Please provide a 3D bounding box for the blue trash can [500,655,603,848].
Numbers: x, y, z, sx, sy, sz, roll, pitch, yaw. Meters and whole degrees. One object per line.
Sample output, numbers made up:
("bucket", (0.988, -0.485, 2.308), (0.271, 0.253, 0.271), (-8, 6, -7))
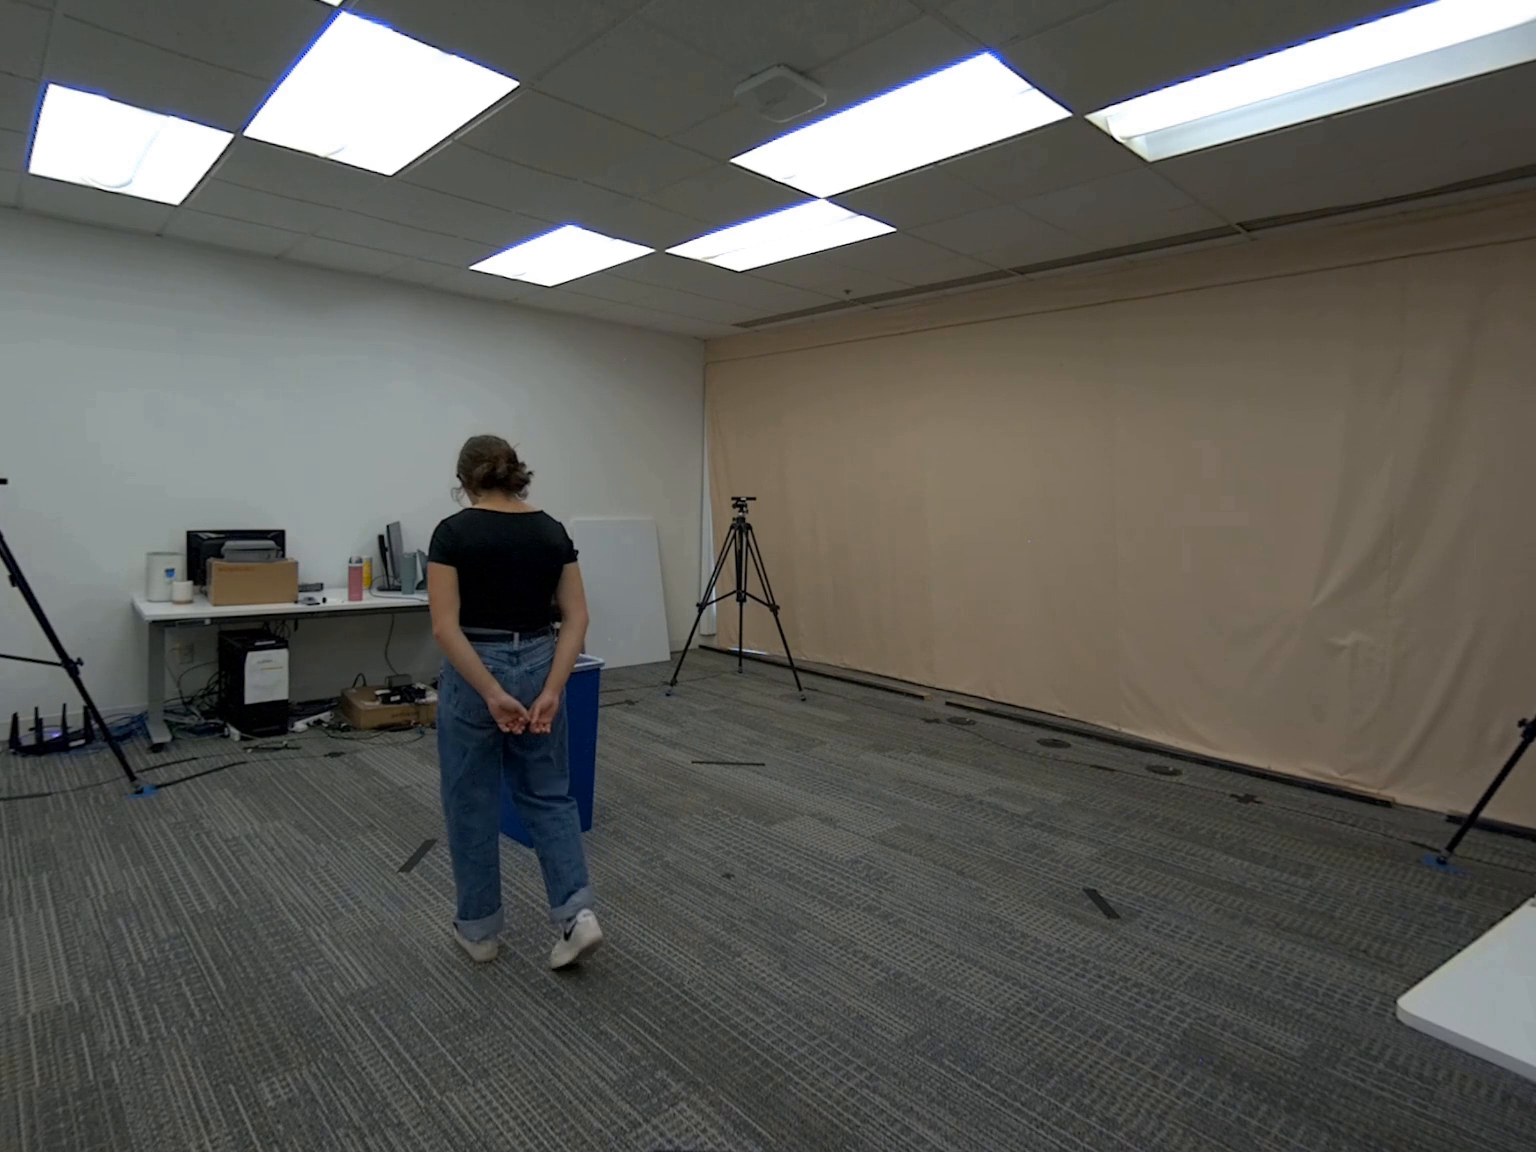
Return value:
("blue trash can", (-0.936, 0.700, 3.501), (0.388, 0.711, 0.366), (5, 5, 43))
